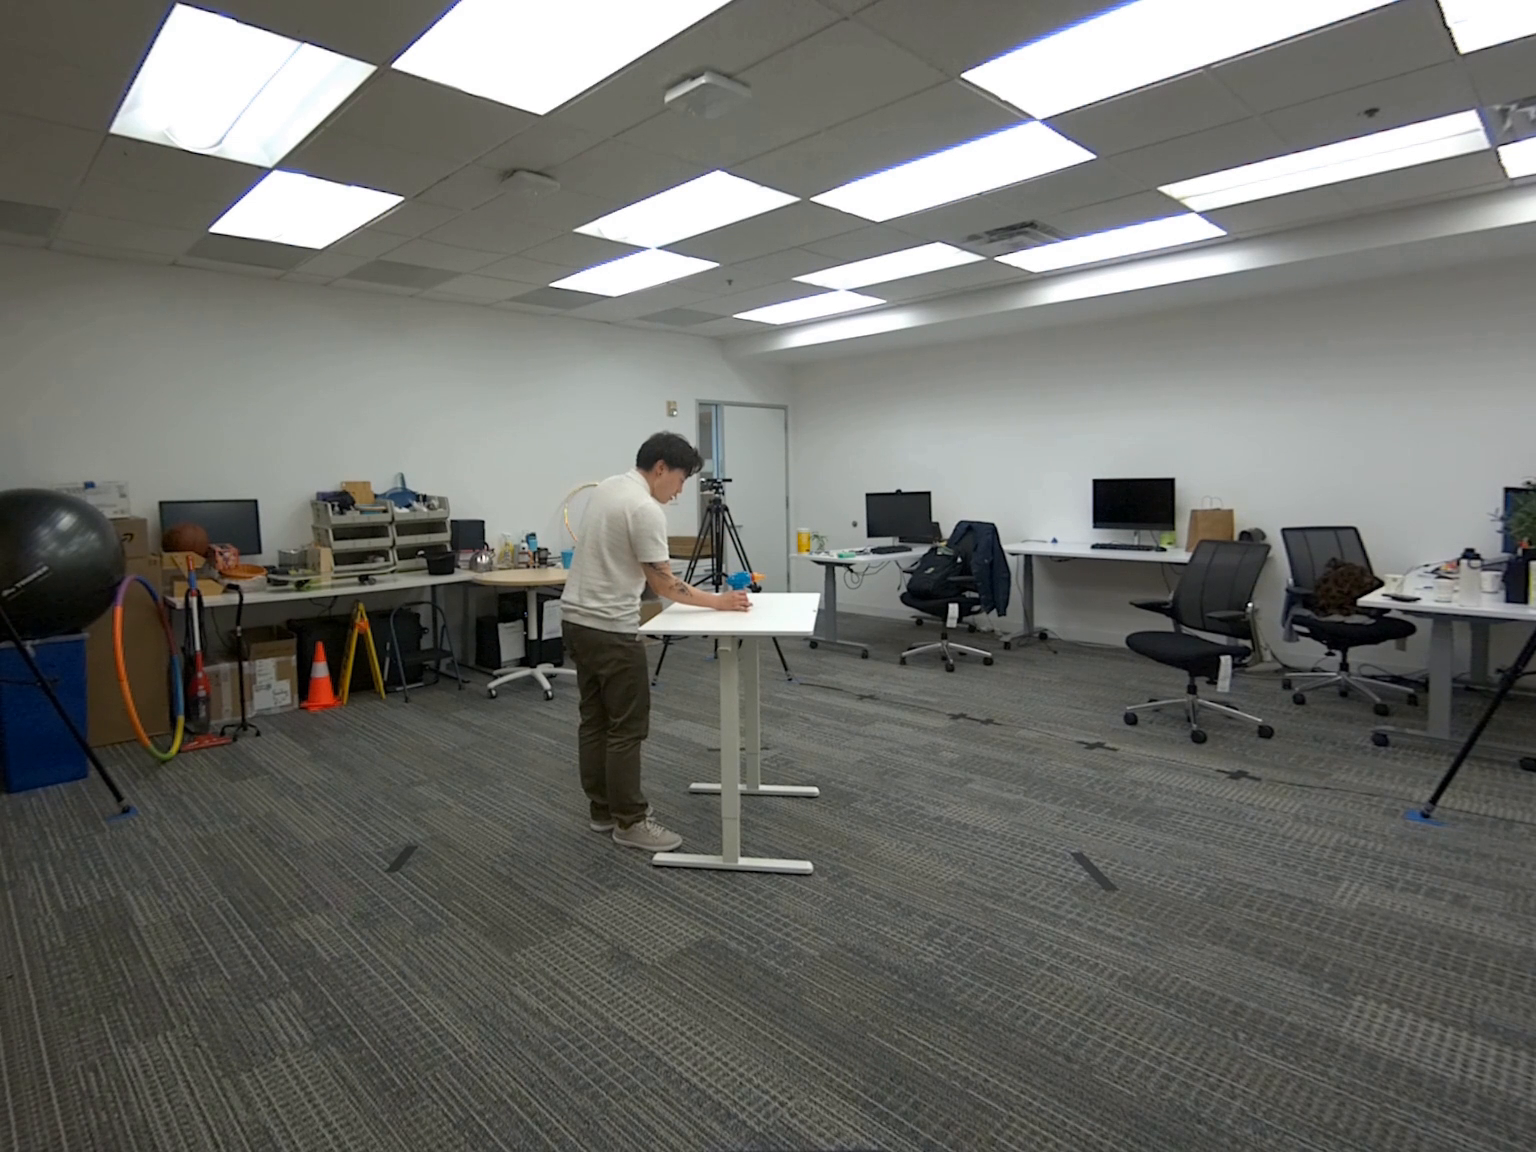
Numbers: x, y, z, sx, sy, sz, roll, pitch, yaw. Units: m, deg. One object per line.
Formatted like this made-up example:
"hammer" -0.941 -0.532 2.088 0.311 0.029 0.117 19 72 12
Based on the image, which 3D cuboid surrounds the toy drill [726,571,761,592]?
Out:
"toy drill" -0.083 0.046 3.389 0.167 0.146 0.062 -7 2 -23
